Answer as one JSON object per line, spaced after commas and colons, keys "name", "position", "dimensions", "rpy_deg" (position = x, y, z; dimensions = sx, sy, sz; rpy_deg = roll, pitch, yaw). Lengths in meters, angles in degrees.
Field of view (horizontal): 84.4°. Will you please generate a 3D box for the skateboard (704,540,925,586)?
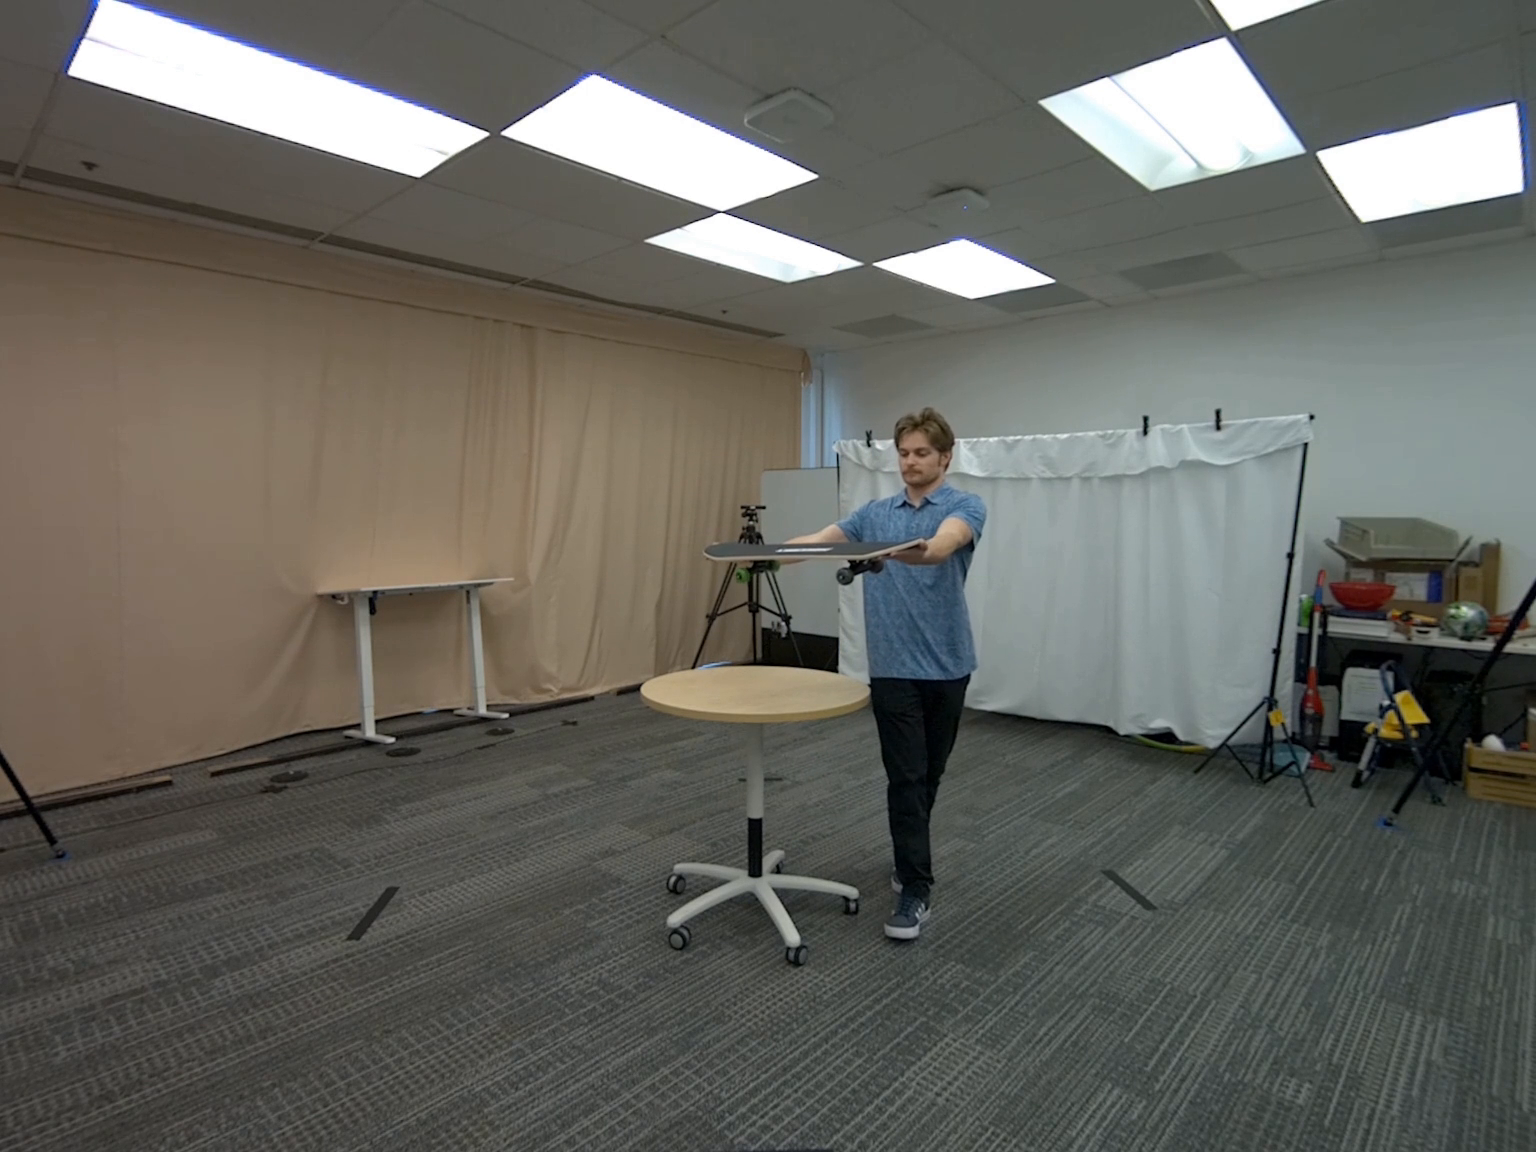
{"name": "skateboard", "position": [0.116, -0.044, 2.563], "dimensions": [0.811, 0.109, 0.189], "rpy_deg": [1, 15, 42]}
